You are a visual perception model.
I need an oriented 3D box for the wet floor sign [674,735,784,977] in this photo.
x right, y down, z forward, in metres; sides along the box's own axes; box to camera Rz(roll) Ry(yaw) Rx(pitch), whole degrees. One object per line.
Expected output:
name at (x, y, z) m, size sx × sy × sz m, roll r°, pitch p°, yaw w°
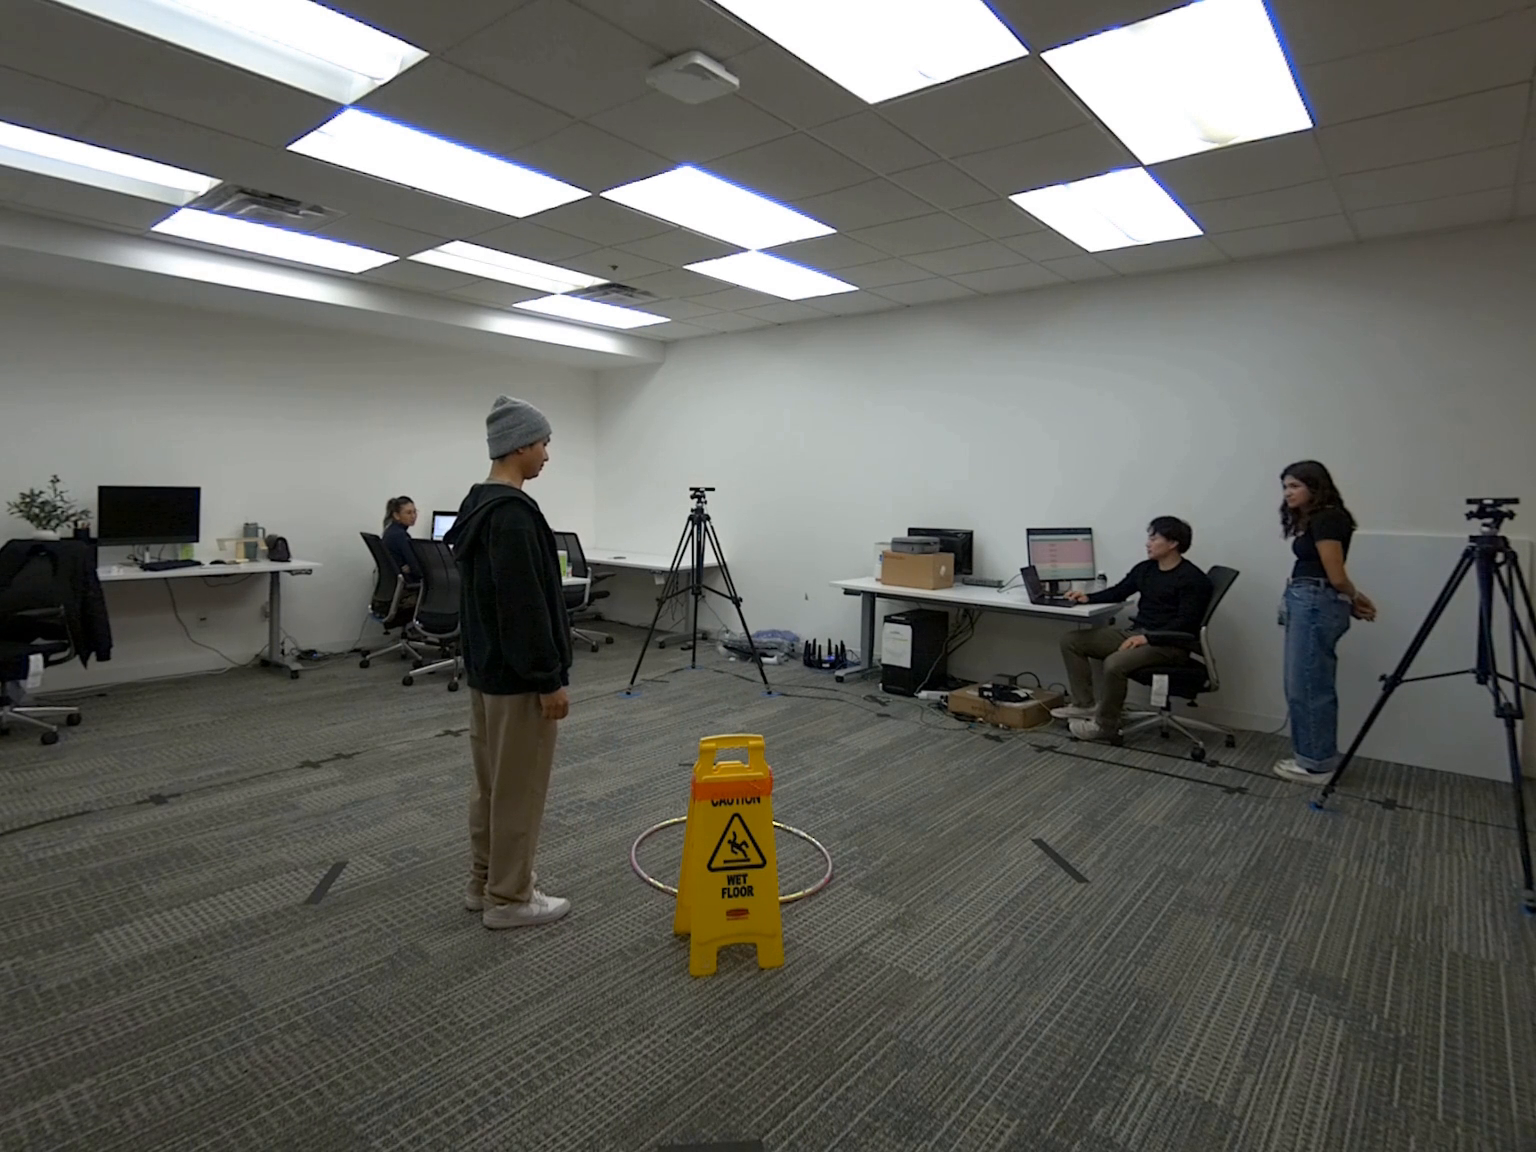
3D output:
wet floor sign at (-0.130, 0.801, 2.542) m, size 0.278 × 0.644 × 0.295 m, roll 0°, pitch 4°, yaw -15°
